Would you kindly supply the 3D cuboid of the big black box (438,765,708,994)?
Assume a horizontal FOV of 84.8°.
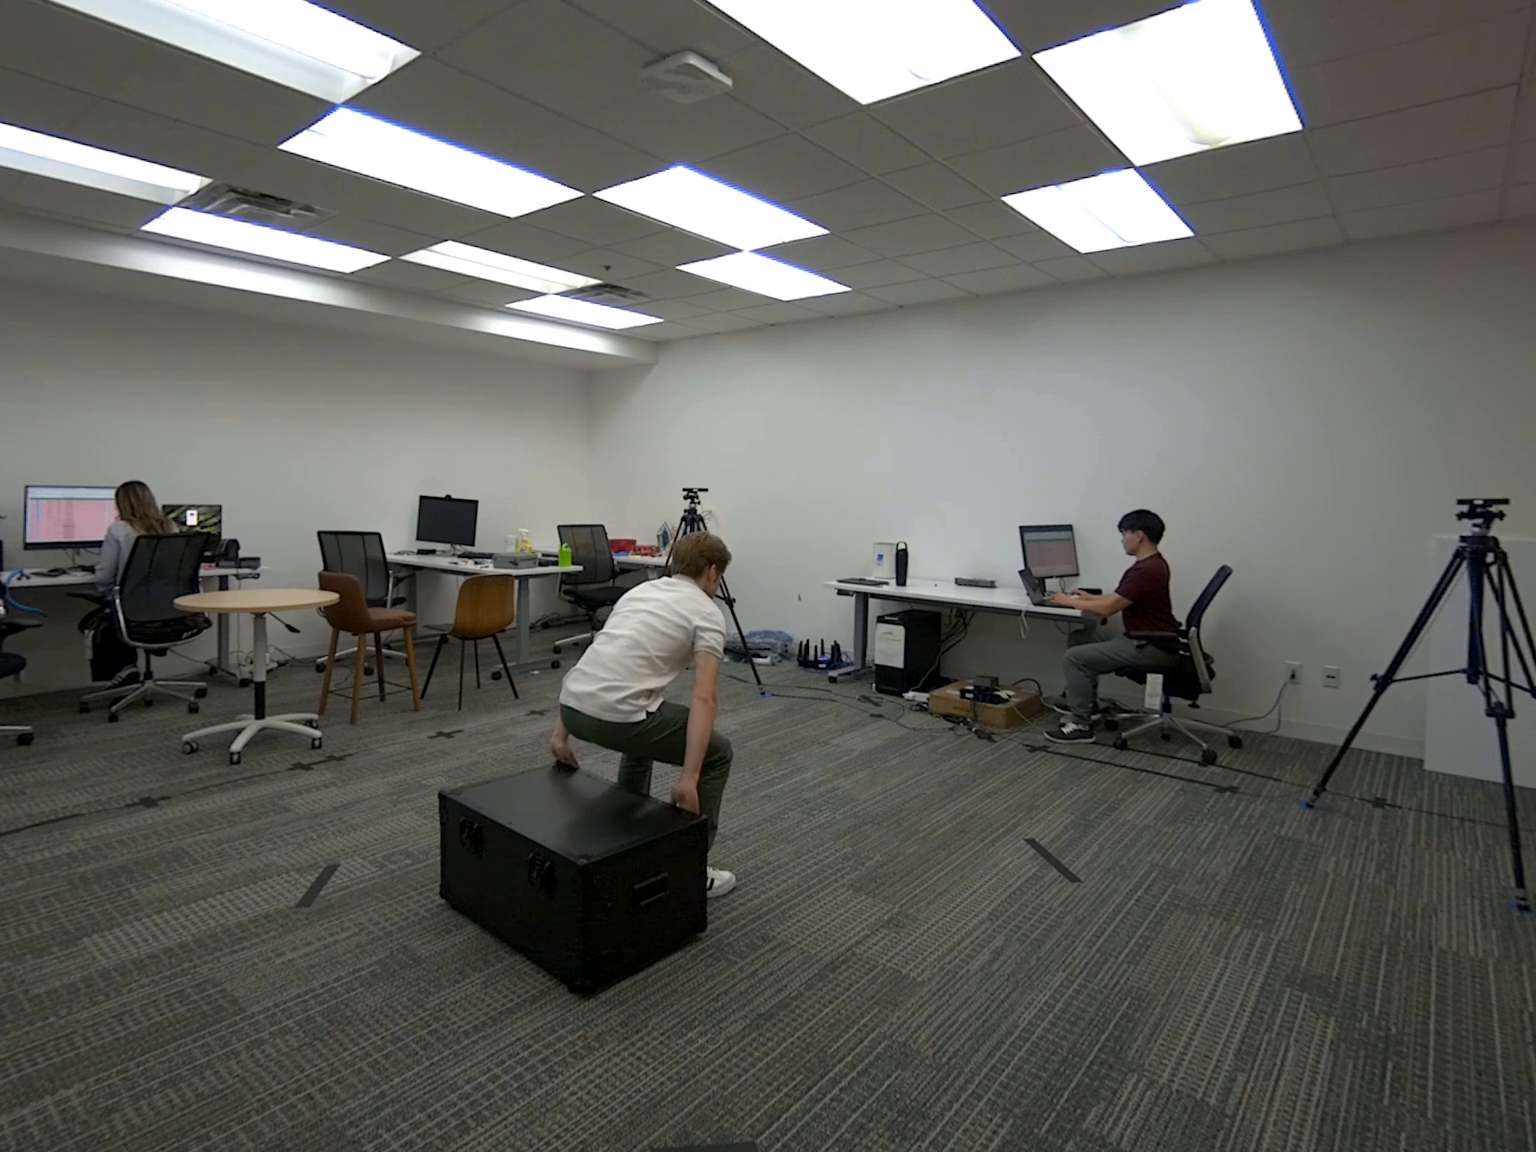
[{"bbox_3d":[-0.671,0.903,2.741,0.898,0.383,0.508,6,8,42],"label":"big black box"}]
